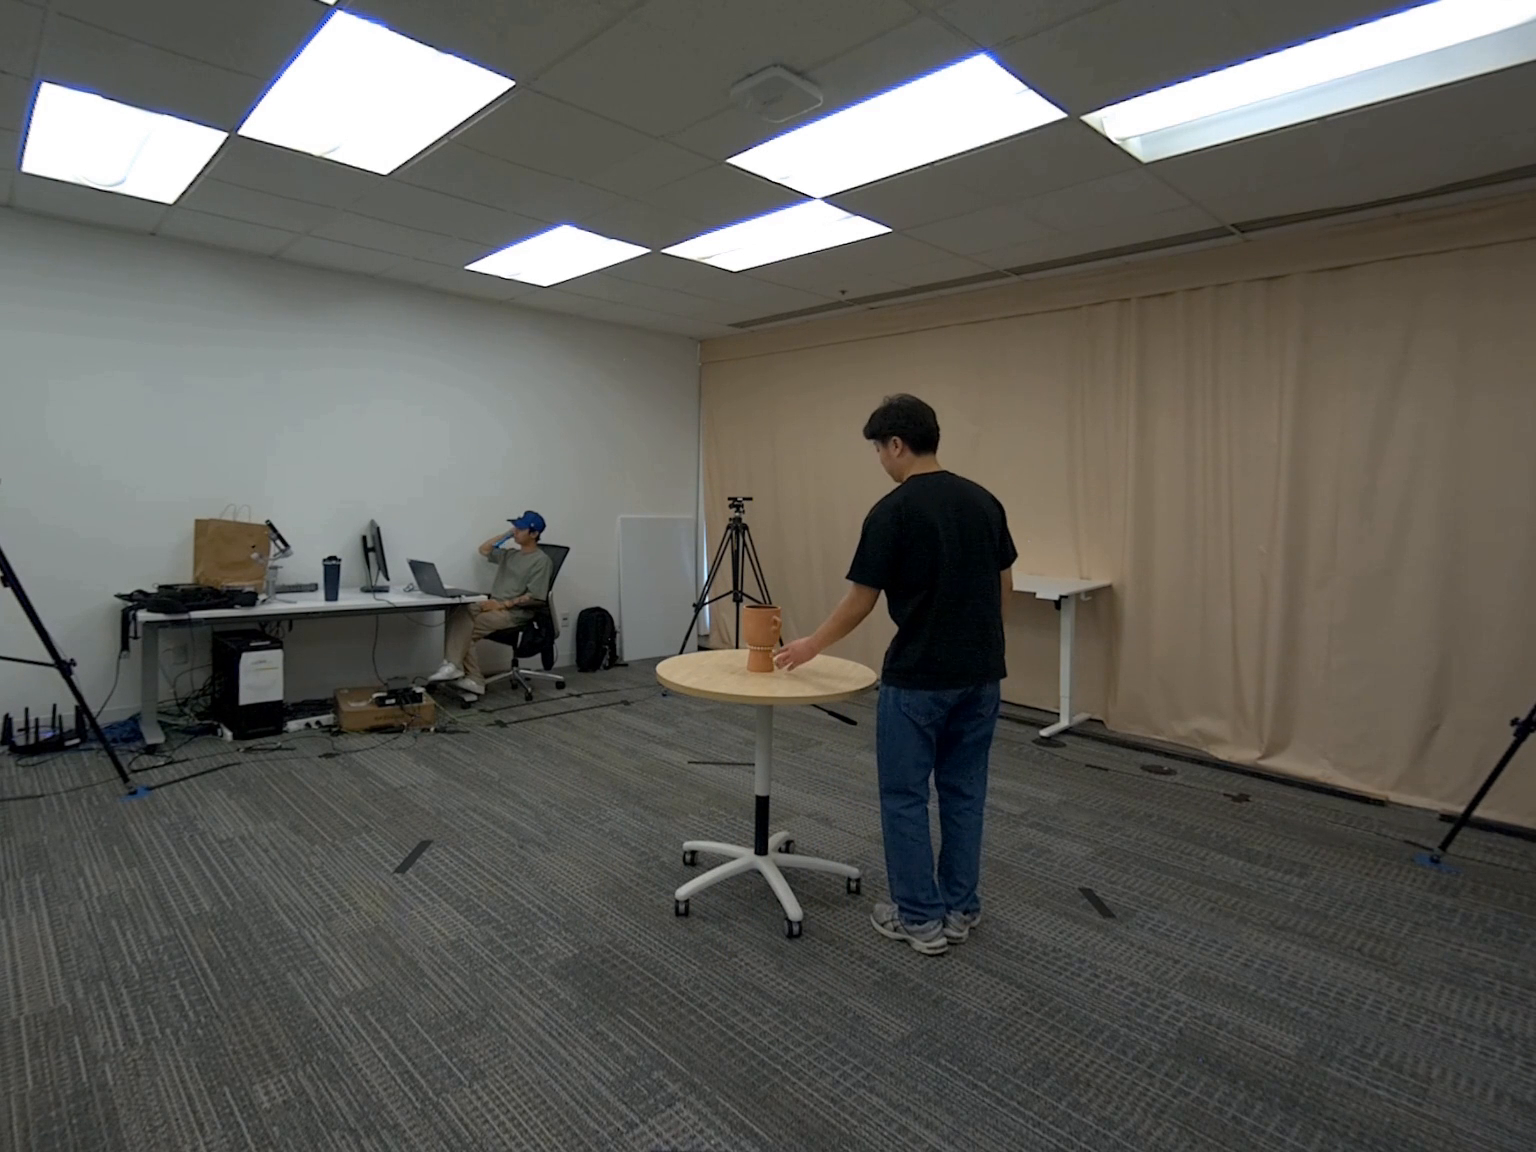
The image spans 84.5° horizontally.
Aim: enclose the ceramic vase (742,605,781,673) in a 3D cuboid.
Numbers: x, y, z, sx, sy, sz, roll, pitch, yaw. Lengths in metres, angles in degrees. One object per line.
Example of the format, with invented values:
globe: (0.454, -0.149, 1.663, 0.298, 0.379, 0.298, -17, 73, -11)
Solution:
ceramic vase: (-0.031, 0.221, 2.935, 0.134, 0.219, 0.159, 1, 4, -2)
